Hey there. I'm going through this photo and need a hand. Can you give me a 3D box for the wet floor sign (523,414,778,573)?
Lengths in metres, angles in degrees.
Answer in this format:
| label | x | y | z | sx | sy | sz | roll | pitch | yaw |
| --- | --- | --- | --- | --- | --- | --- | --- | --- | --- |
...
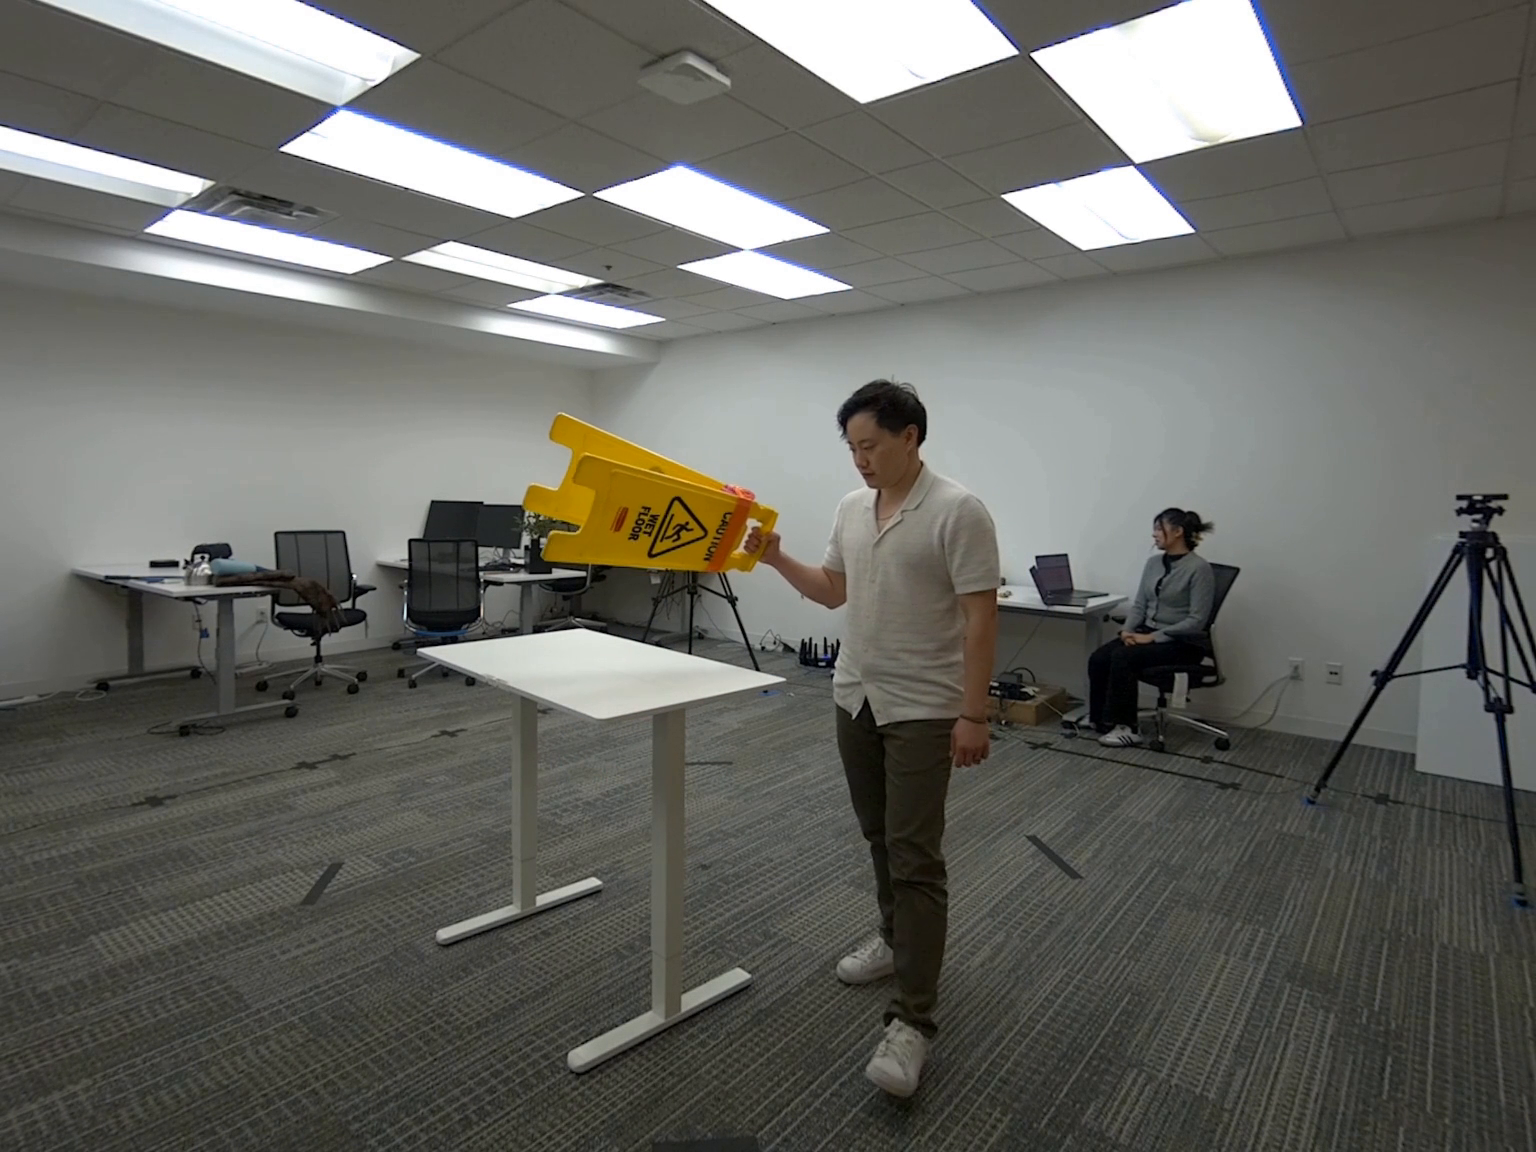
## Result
| label | x | y | z | sx | sy | sz | roll | pitch | yaw |
| --- | --- | --- | --- | --- | --- | --- | --- | --- | --- |
| wet floor sign | -0.283 | -0.166 | 2.227 | 0.625 | 0.280 | 0.301 | 14 | 21 | -30 |
